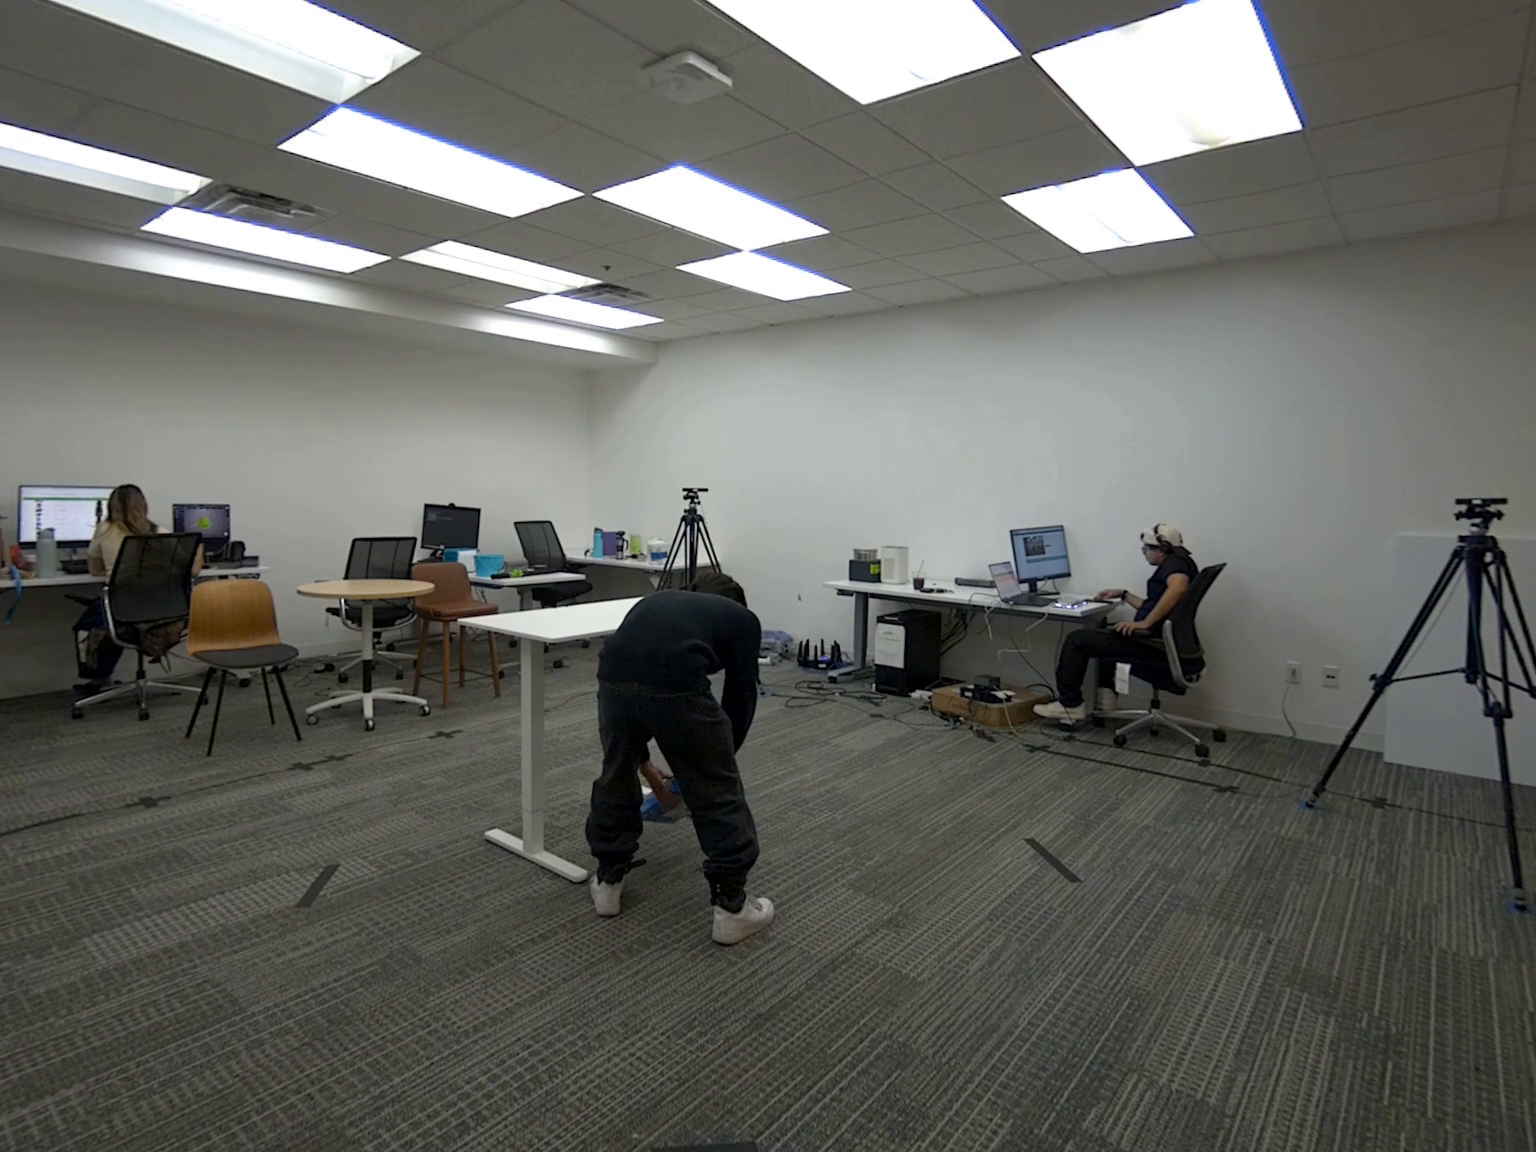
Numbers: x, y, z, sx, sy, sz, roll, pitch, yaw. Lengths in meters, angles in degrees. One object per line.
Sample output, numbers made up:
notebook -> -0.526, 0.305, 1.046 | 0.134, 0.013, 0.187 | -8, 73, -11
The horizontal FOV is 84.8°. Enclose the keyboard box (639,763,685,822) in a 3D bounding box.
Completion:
keyboard box -> -0.370, 0.839, 3.165 | 0.172, 0.061, 0.435 | 12, -34, -21
